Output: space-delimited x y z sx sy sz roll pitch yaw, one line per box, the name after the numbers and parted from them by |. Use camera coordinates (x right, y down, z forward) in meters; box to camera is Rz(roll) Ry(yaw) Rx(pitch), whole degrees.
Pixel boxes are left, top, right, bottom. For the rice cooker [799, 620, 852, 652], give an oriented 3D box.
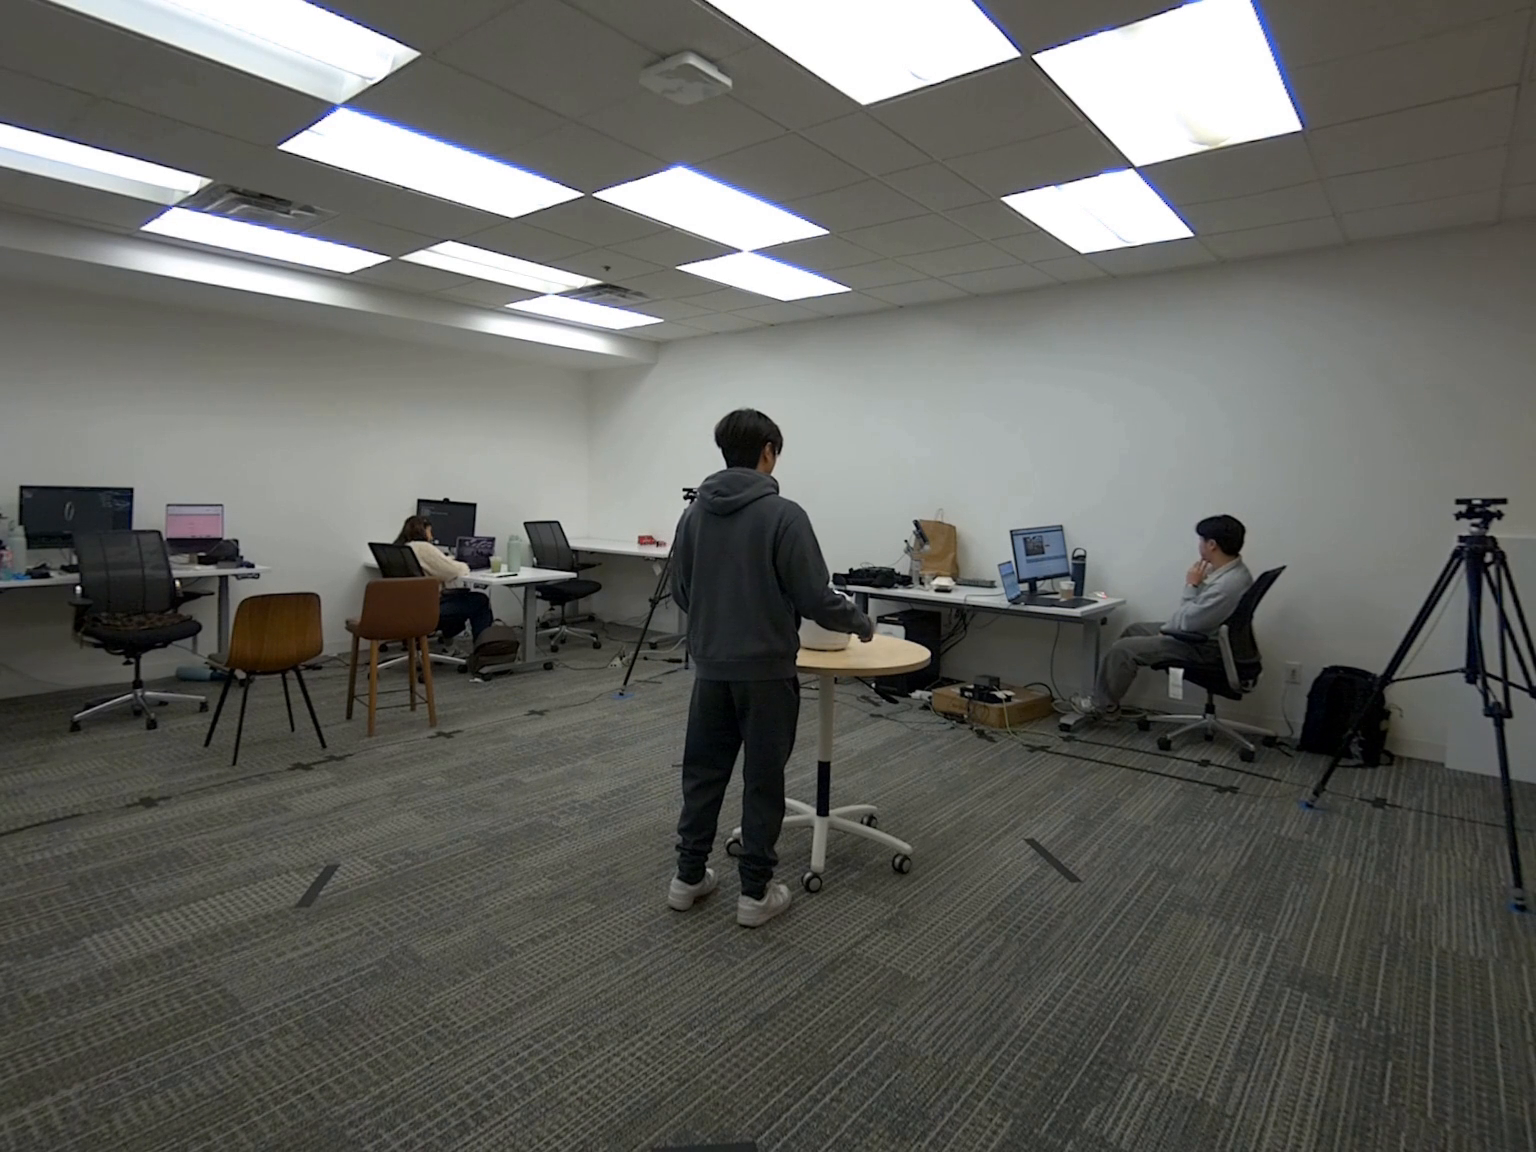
0.207 0.154 3.244 0.222 0.232 0.217 2 4 18 | rice cooker
